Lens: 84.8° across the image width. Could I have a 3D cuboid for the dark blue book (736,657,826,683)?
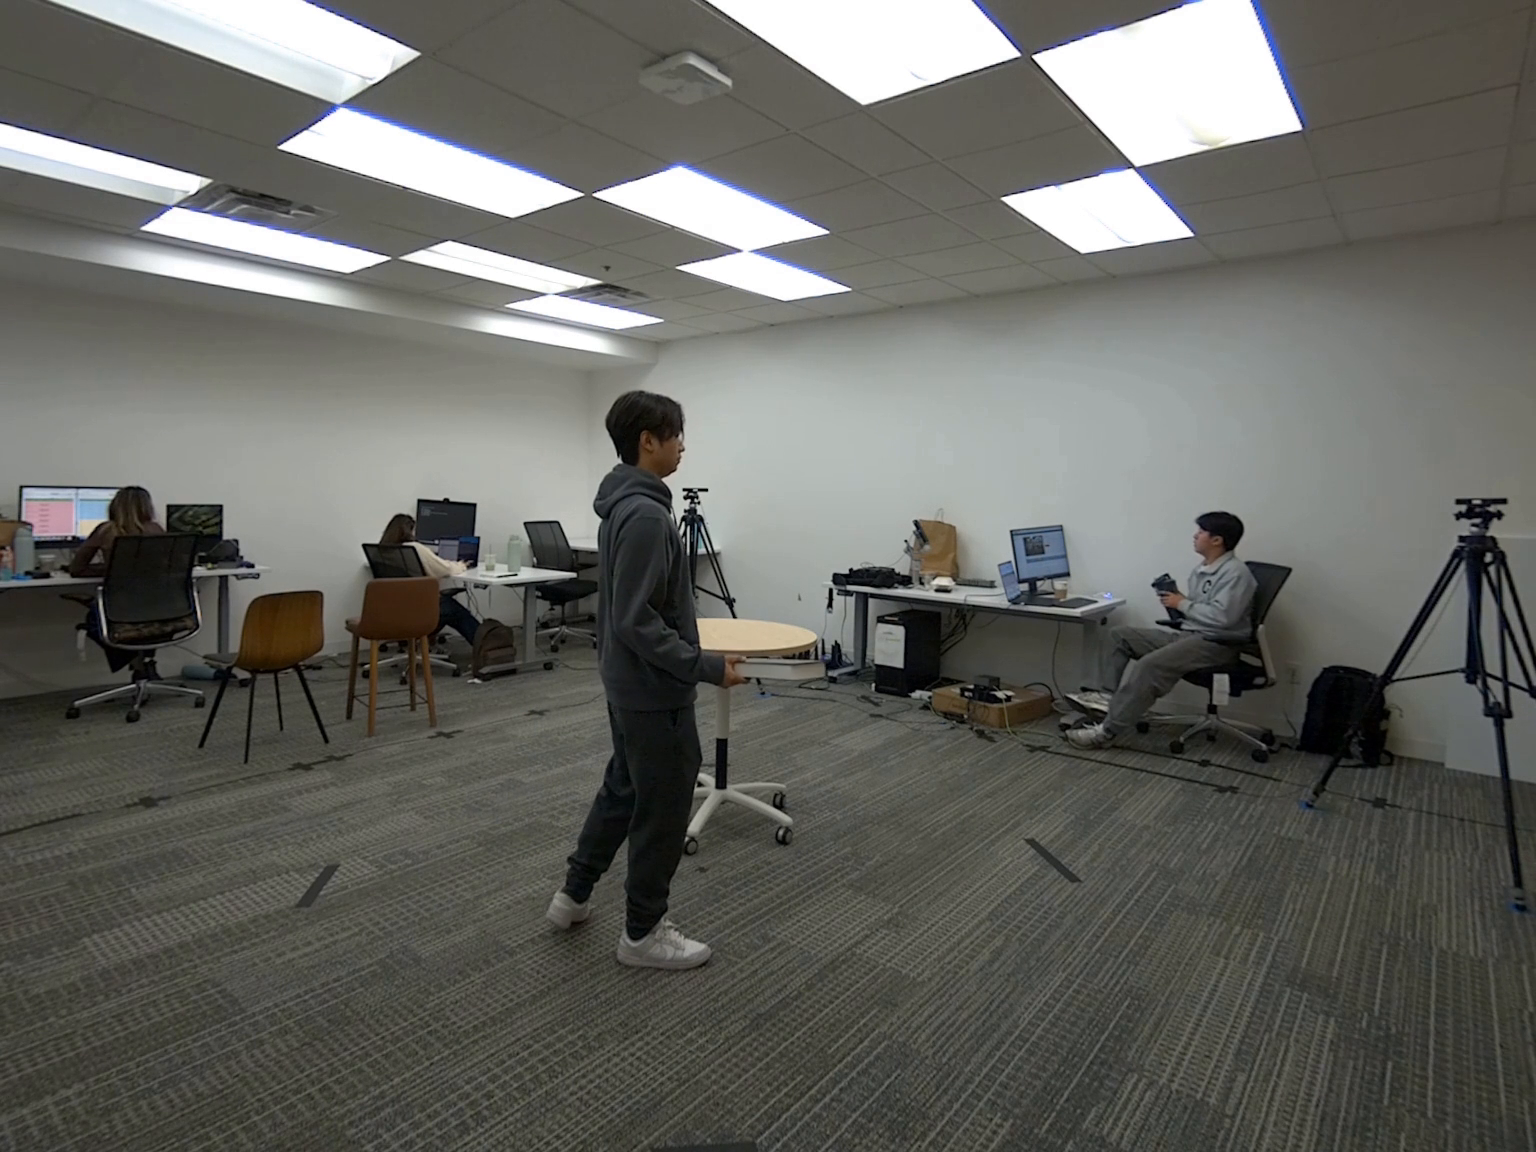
[{"bbox_3d":[0.004,0.251,2.313,0.252,0.045,0.158,-2,-3,38],"label":"dark blue book"}]
